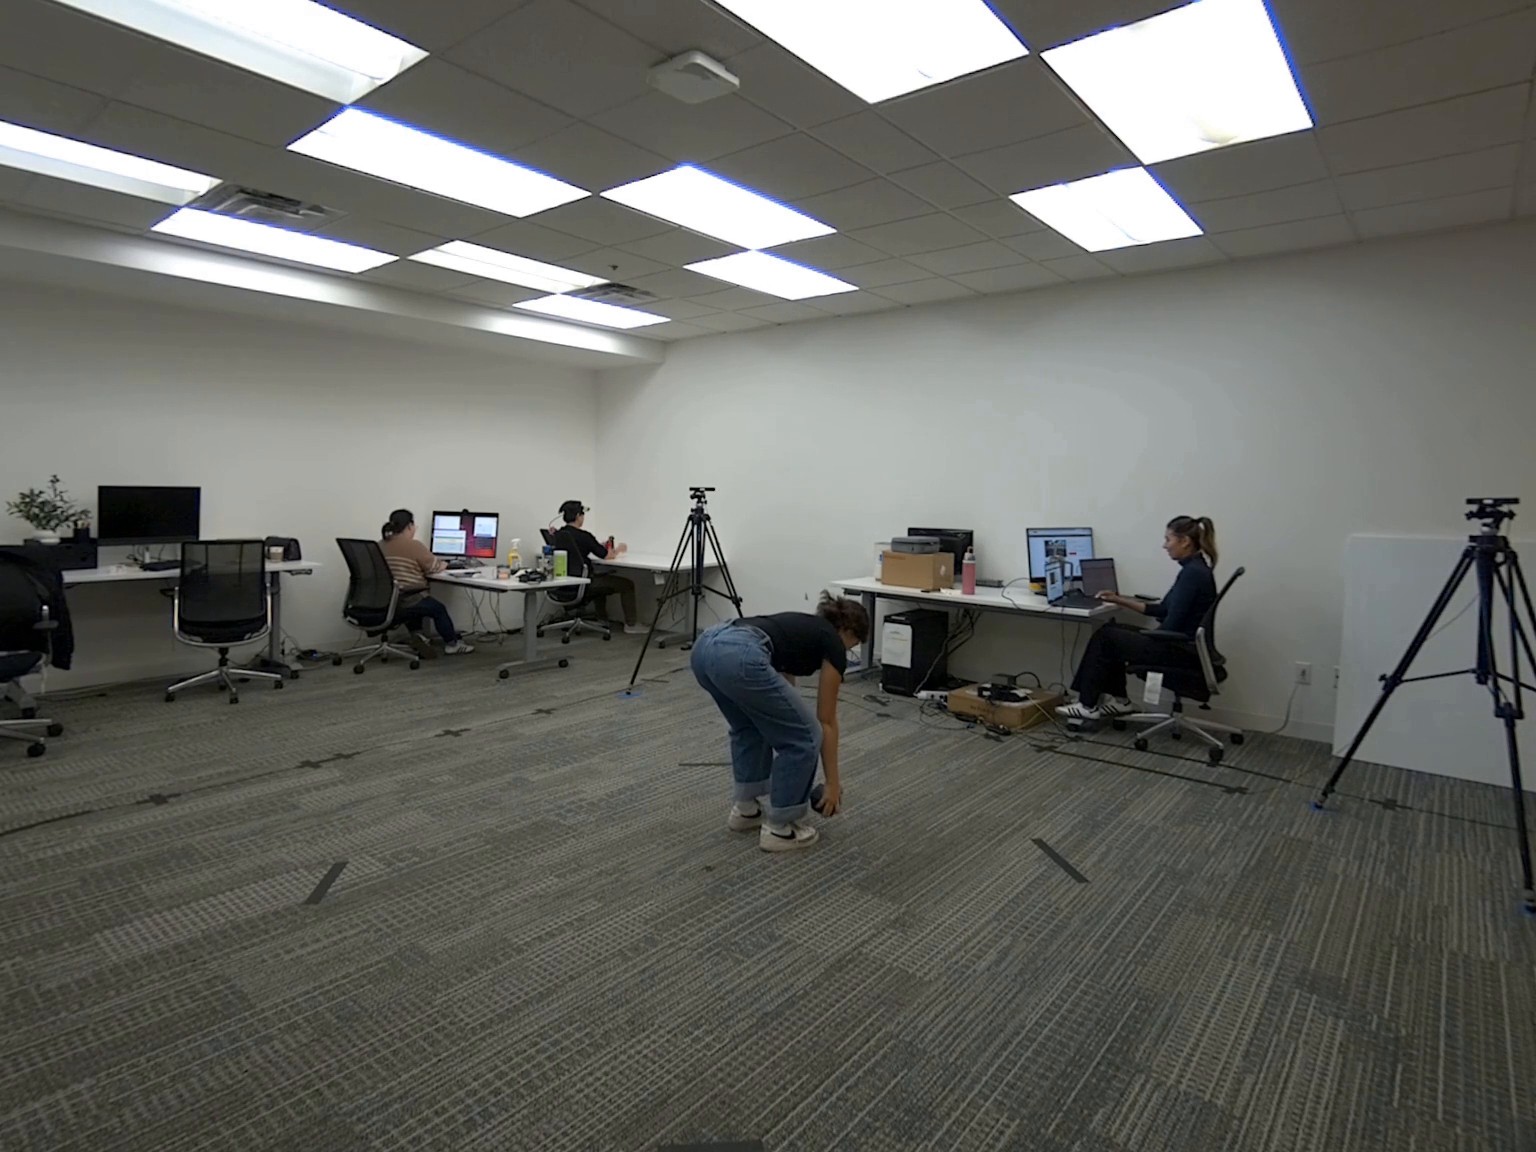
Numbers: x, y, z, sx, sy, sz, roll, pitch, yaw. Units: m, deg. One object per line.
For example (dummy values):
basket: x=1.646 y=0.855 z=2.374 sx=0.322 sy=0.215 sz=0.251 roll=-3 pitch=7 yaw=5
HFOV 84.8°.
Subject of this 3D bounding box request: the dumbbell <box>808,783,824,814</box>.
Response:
dumbbell: x=0.171 y=0.885 z=3.517 sx=0.122 sy=0.106 sz=0.302 roll=-43 pitch=24 yaw=-20
